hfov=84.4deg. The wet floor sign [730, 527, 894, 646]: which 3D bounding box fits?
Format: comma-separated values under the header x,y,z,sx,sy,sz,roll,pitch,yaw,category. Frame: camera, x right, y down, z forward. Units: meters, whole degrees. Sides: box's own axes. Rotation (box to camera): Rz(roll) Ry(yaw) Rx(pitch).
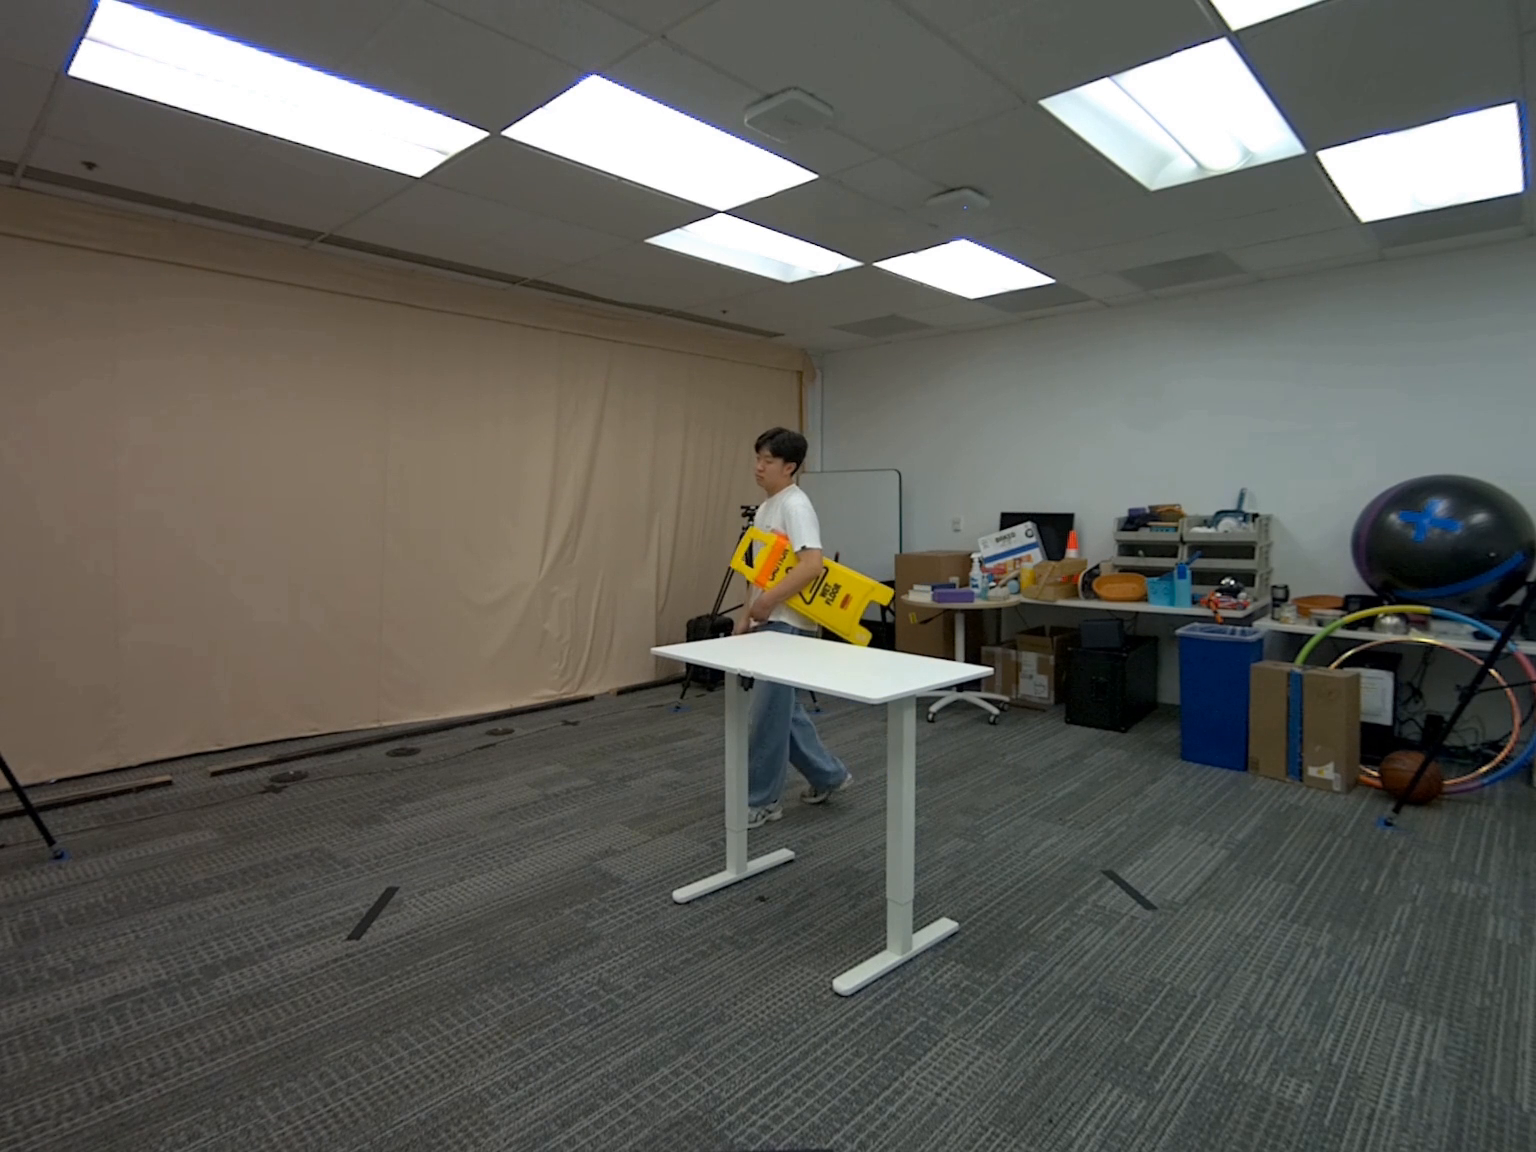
x,y,z,sx,sy,sz,roll,pitch,yaw,category
0.175,0.026,3.543,0.647,0.282,0.289,25,-2,1,wet floor sign
